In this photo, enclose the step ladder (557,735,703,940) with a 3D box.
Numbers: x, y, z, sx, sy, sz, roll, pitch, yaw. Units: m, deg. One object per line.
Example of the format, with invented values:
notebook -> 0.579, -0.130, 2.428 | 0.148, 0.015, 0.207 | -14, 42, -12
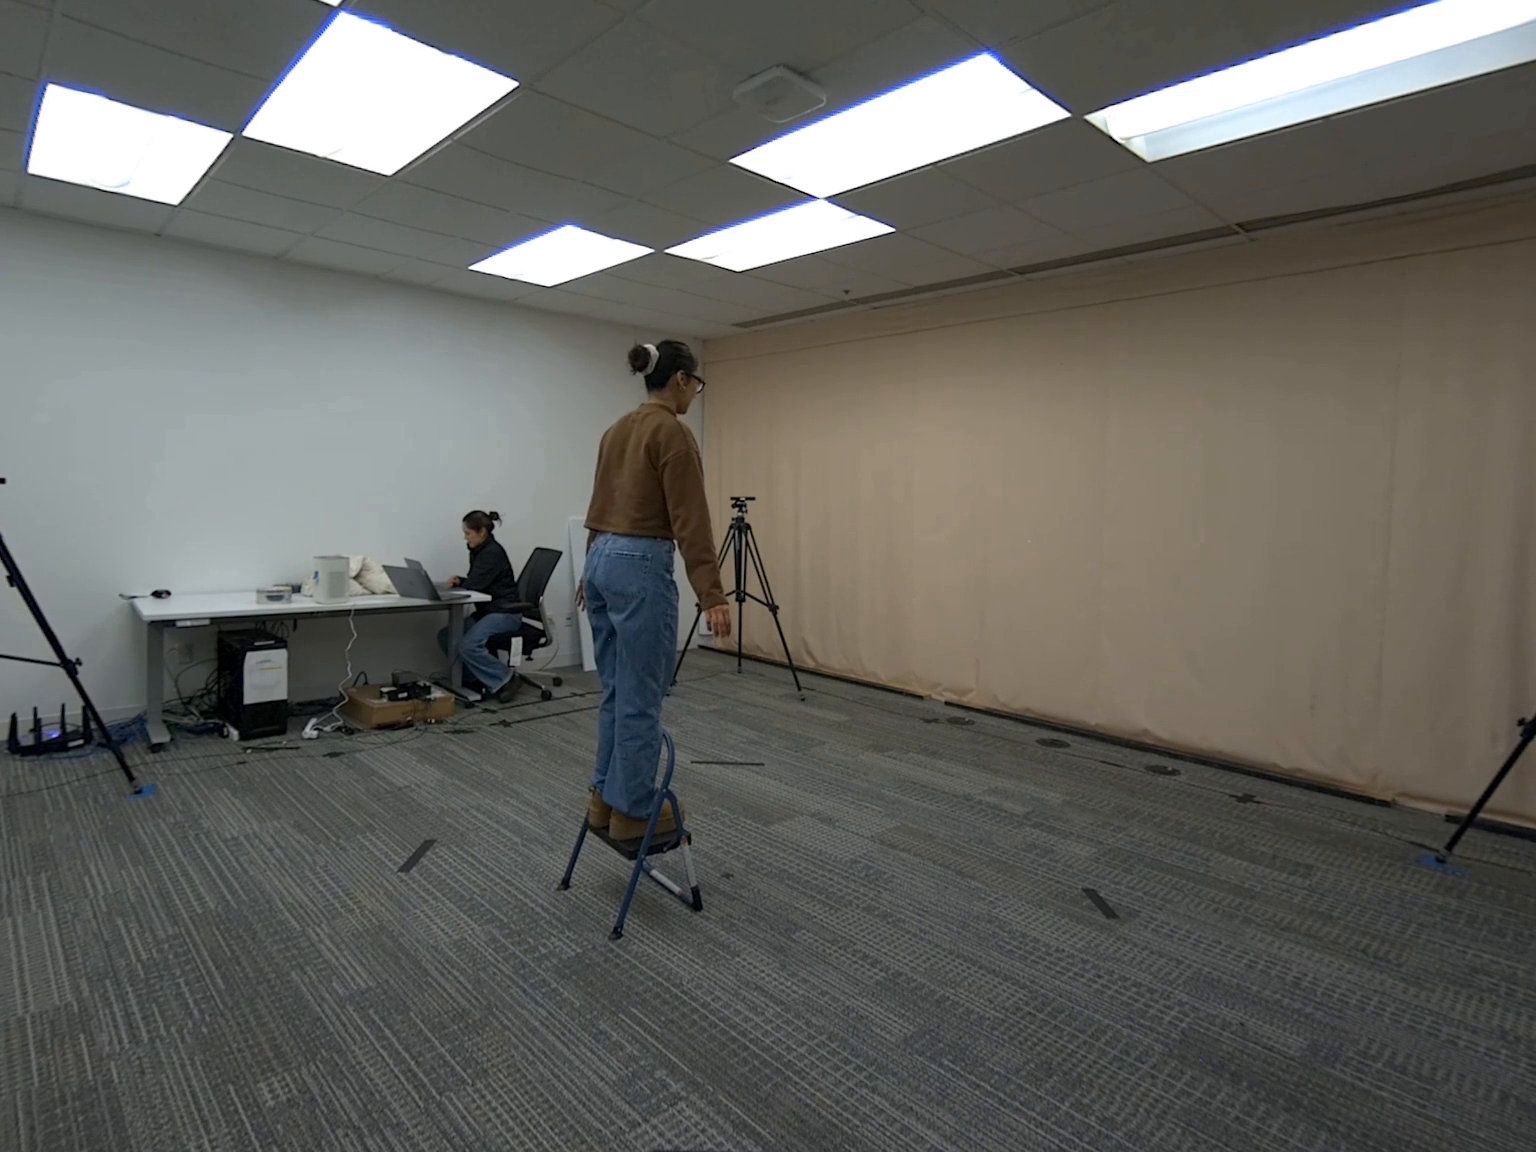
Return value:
step ladder -> -0.474, 0.819, 2.889 | 0.341, 0.604, 0.441 | -1, 4, -37
